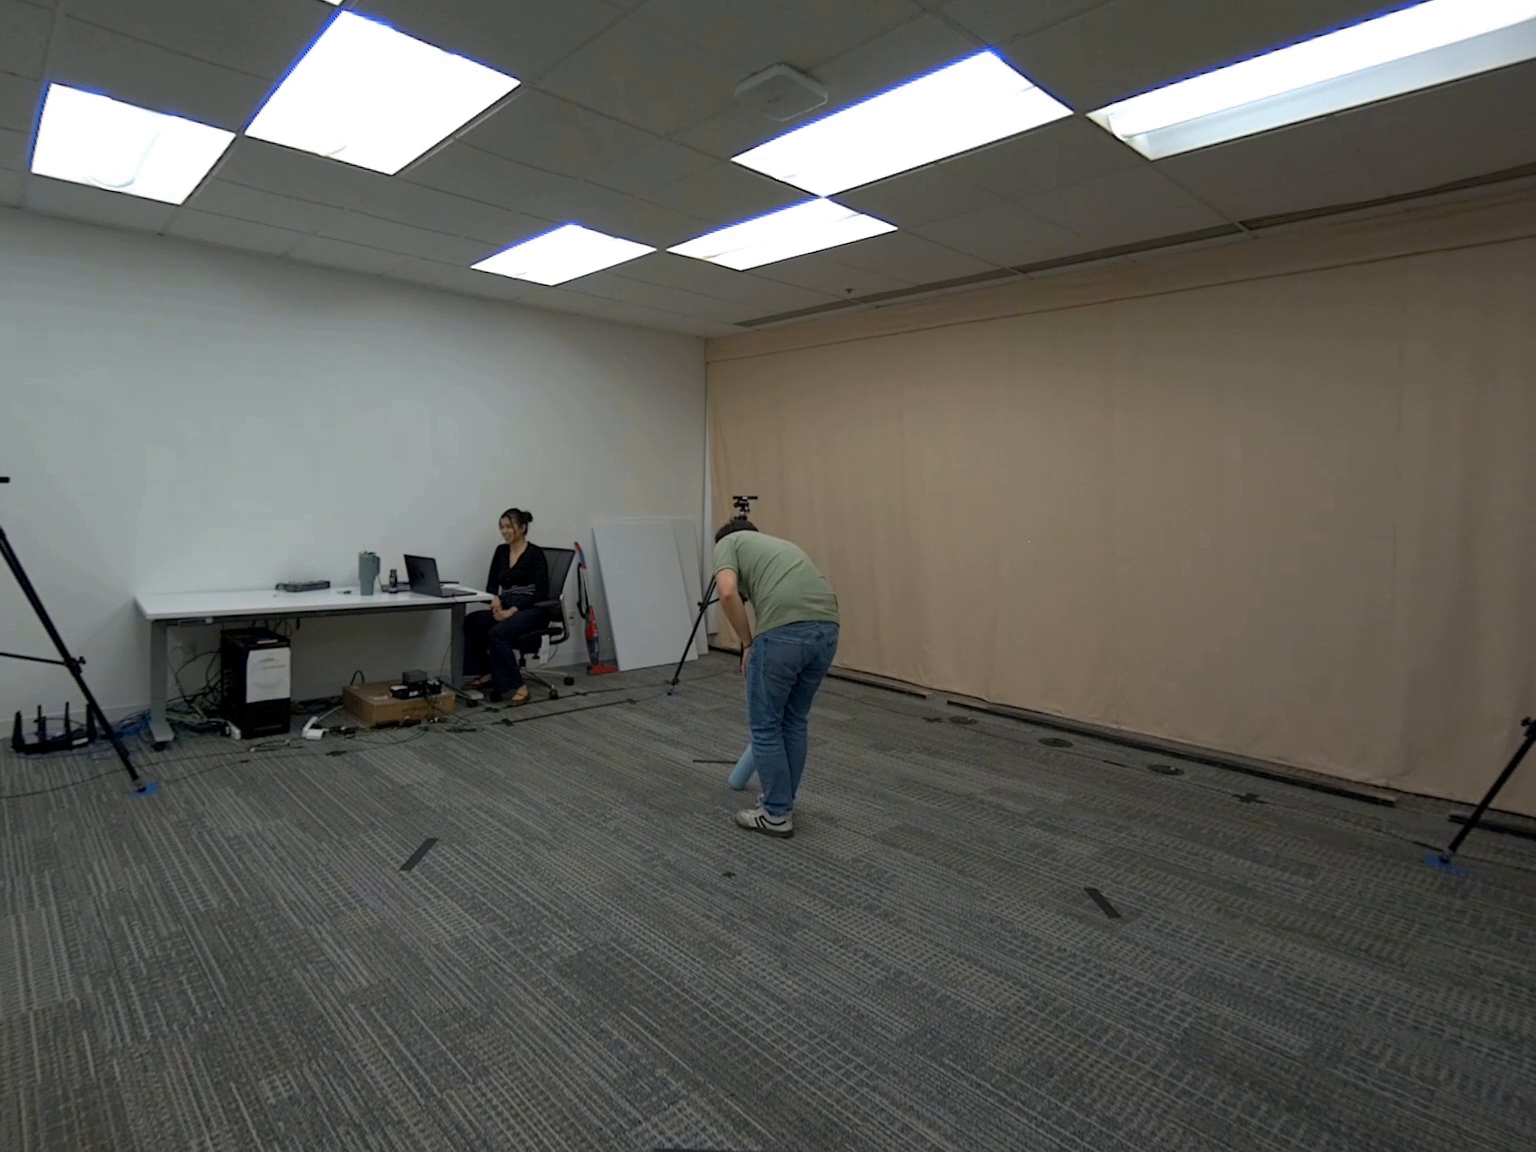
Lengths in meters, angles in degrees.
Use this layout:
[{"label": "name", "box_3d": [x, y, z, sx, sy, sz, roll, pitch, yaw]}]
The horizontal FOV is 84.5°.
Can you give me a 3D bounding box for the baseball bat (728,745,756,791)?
[{"label": "baseball bat", "box_3d": [-0.038, 0.780, 3.985, 0.088, 0.541, 0.090, 27, 14, -9]}]
